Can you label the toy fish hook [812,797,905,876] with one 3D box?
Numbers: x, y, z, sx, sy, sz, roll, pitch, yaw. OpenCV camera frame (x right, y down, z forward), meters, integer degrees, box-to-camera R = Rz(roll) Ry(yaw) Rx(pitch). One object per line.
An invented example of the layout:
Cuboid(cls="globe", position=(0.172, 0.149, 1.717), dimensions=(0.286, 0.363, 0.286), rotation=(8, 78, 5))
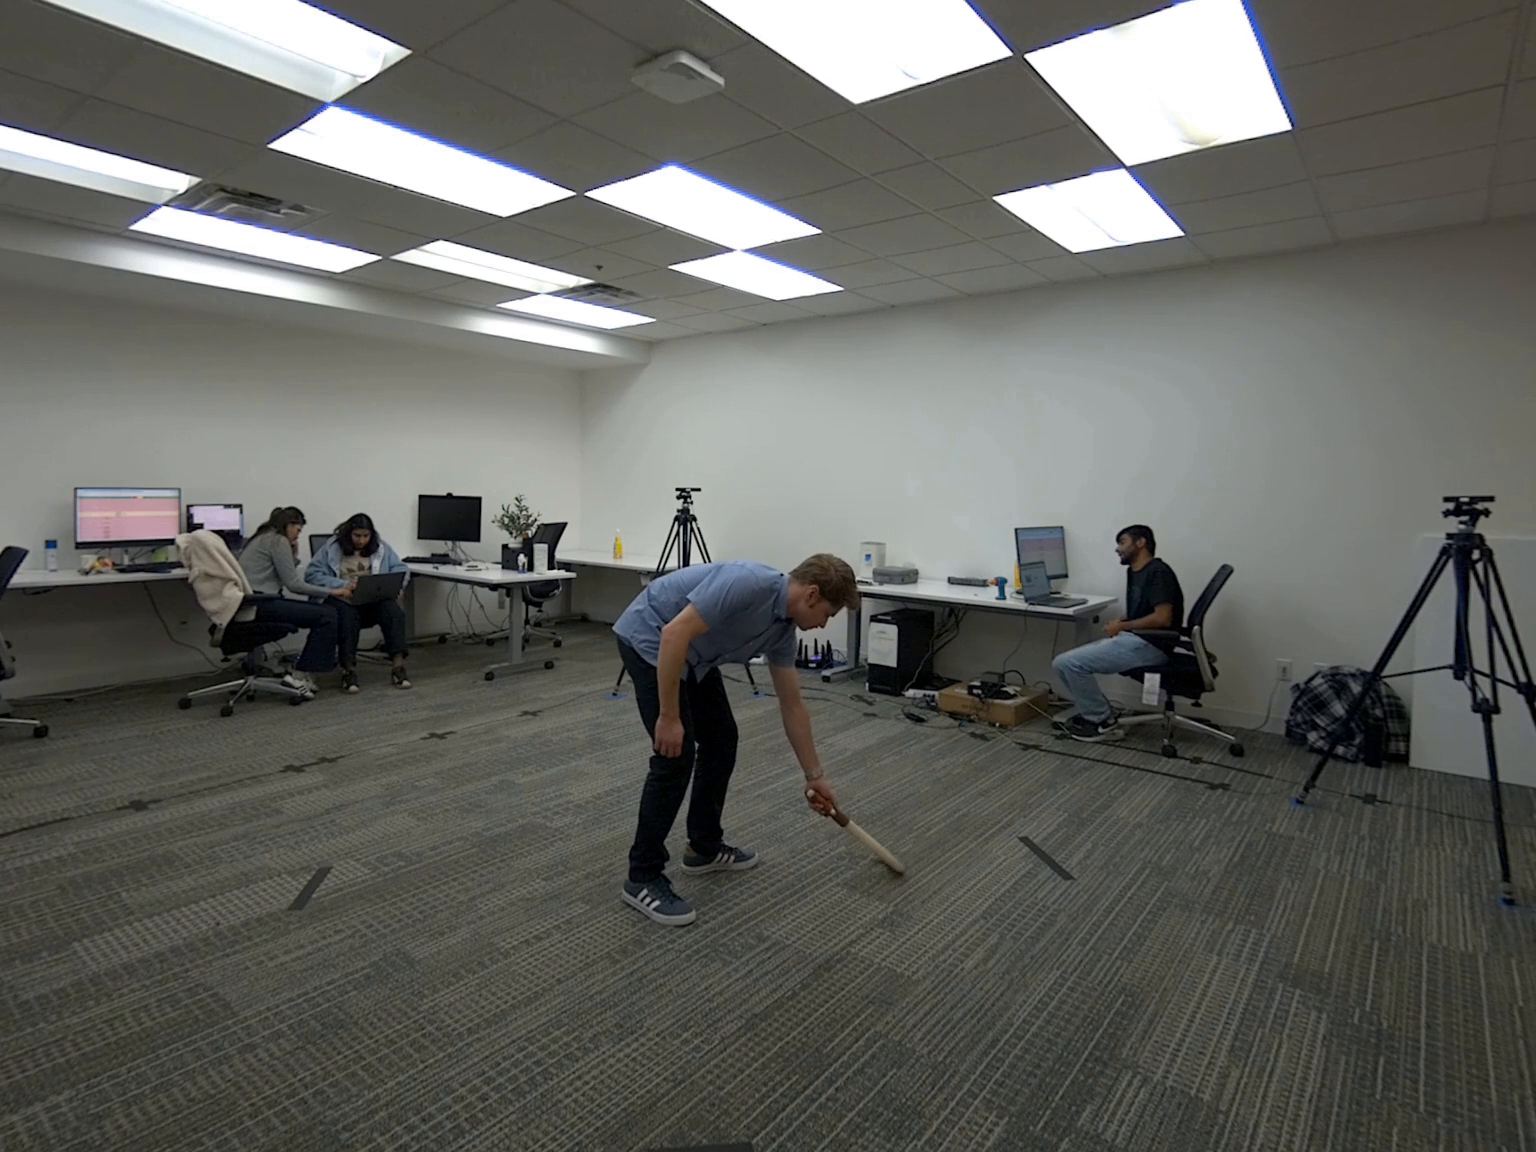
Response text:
Cuboid(cls="toy fish hook", position=(0.286, 0.918, 3.109), dimensions=(0.496, 0.048, 0.229), rotation=(42, -13, -15))
